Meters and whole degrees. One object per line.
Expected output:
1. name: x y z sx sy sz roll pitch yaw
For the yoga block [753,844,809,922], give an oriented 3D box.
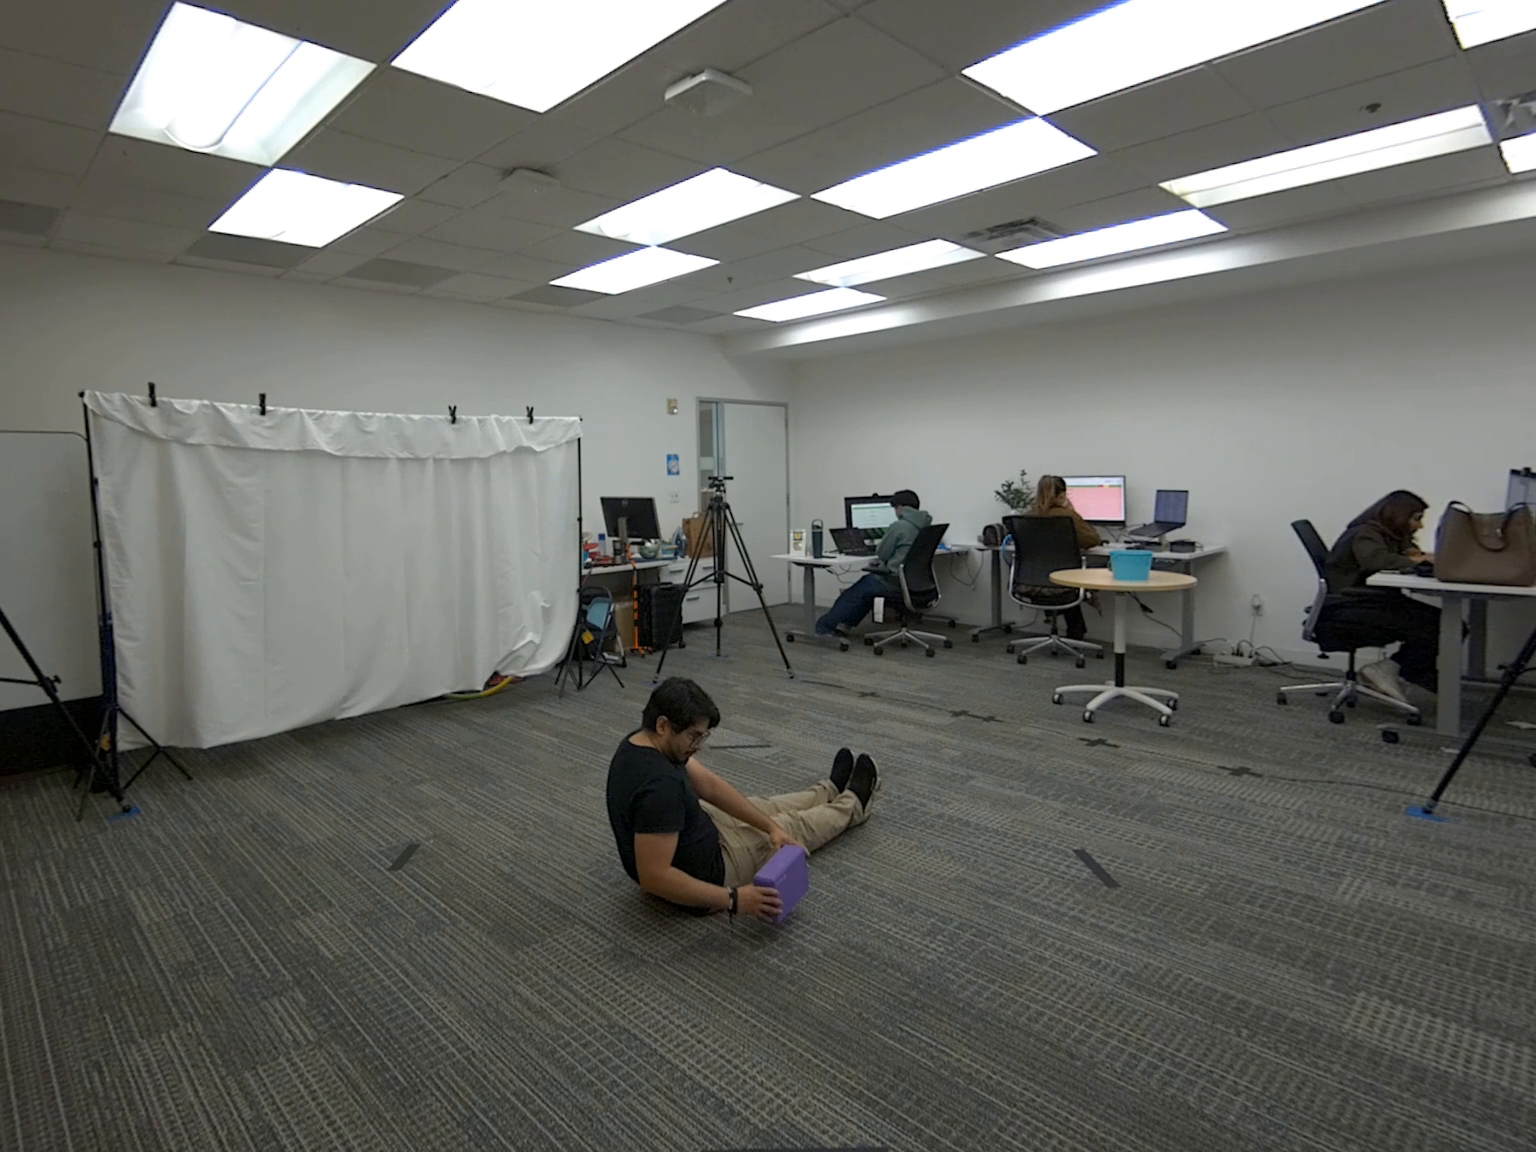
1. yoga block: 0.036 0.956 2.664 0.078 0.148 0.225 0 7 27
